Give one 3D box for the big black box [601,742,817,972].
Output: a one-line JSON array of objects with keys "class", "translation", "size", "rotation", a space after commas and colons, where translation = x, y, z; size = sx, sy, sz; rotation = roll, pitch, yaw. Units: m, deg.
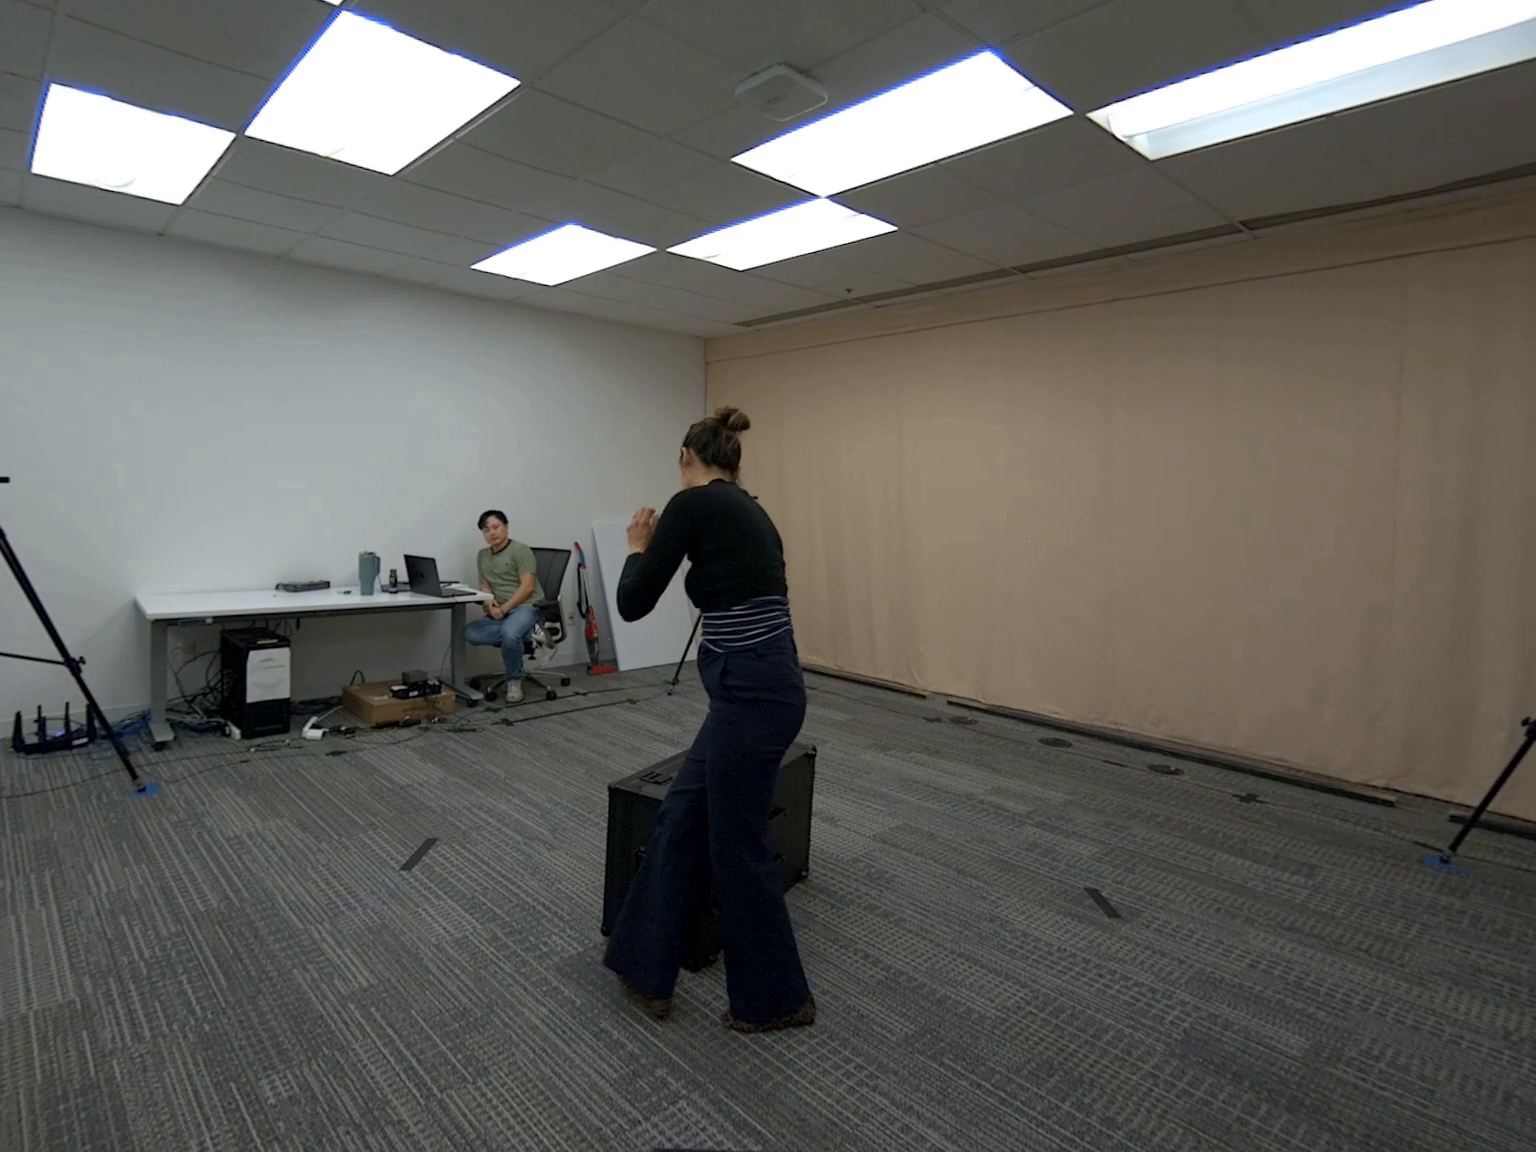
[{"class": "big black box", "translation": [-0.149, 0.871, 2.878], "size": [0.405, 0.519, 0.846], "rotation": [5, 6, 27]}]
